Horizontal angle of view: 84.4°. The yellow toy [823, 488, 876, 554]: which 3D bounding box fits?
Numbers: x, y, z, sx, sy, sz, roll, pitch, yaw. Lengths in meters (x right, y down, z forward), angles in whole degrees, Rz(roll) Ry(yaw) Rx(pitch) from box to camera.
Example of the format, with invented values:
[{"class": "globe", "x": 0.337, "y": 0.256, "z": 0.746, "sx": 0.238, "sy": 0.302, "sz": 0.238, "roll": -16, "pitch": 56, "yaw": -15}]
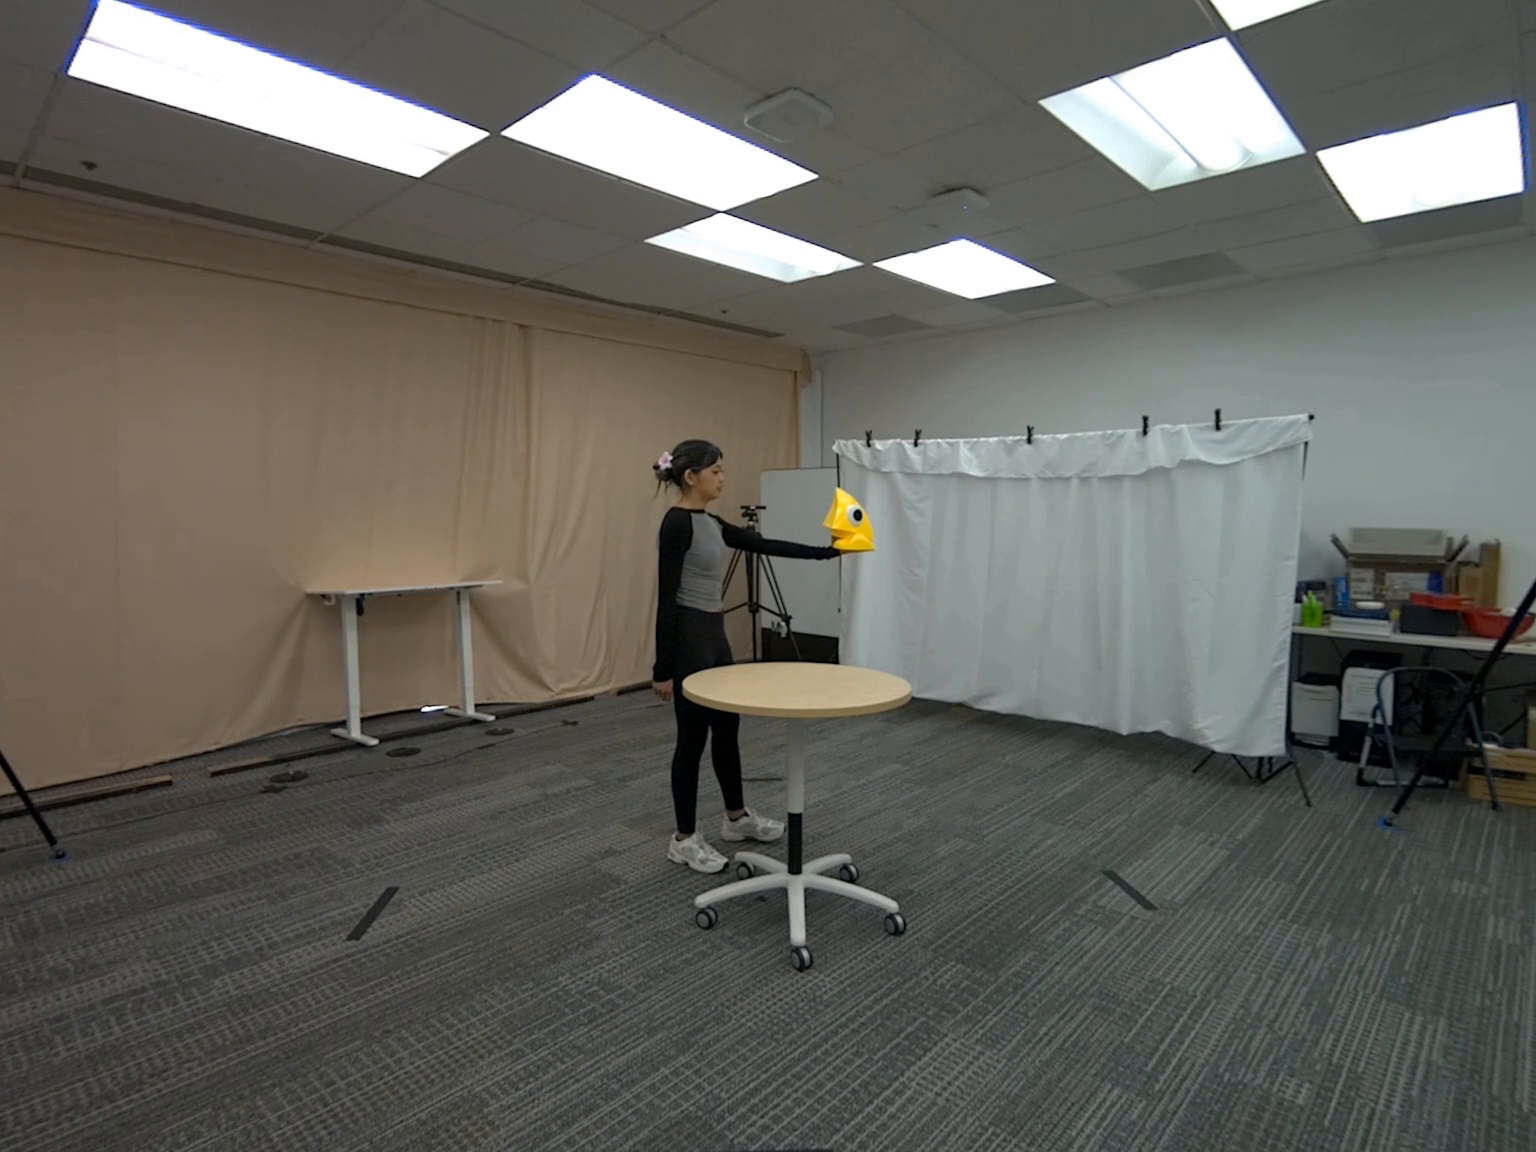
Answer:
[{"class": "yellow toy", "x": 0.329, "y": -0.224, "z": 3.259, "sx": 0.192, "sy": 0.230, "sz": 0.206, "roll": 1, "pitch": 7, "yaw": -5}]
